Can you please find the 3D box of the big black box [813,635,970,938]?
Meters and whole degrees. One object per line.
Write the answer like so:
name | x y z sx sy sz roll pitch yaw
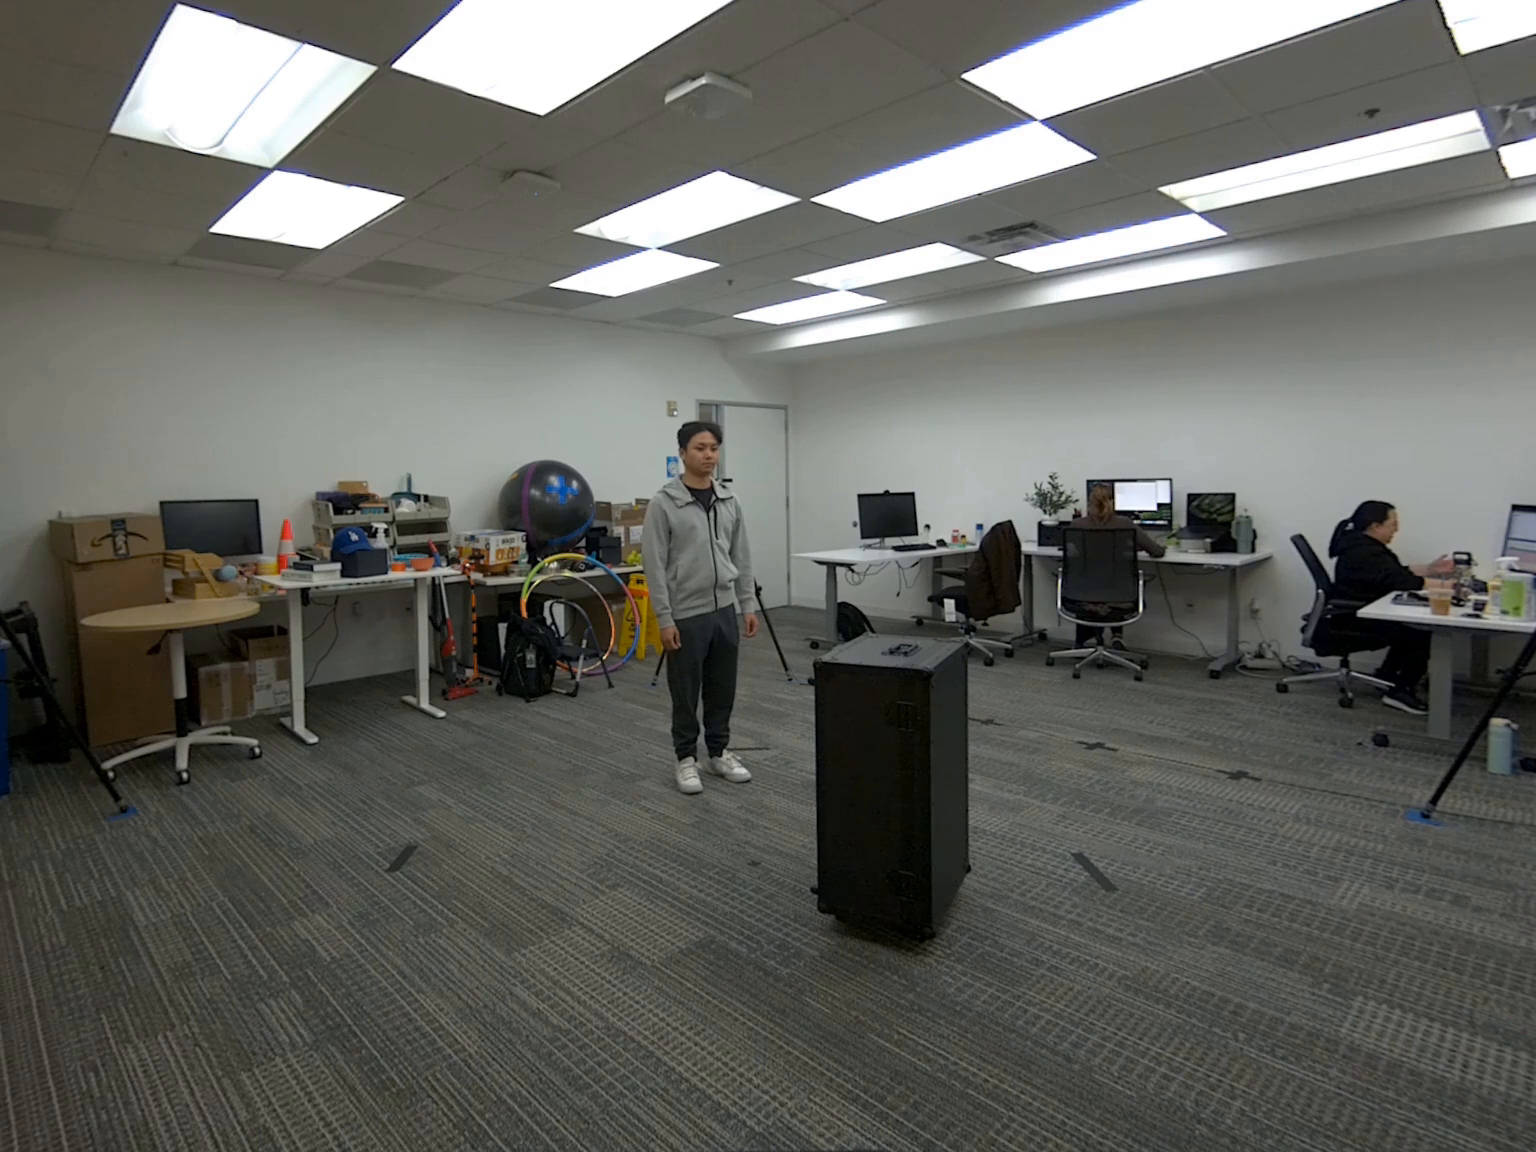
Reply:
big black box | 0.400 0.657 2.718 0.406 0.859 0.510 0 4 27
